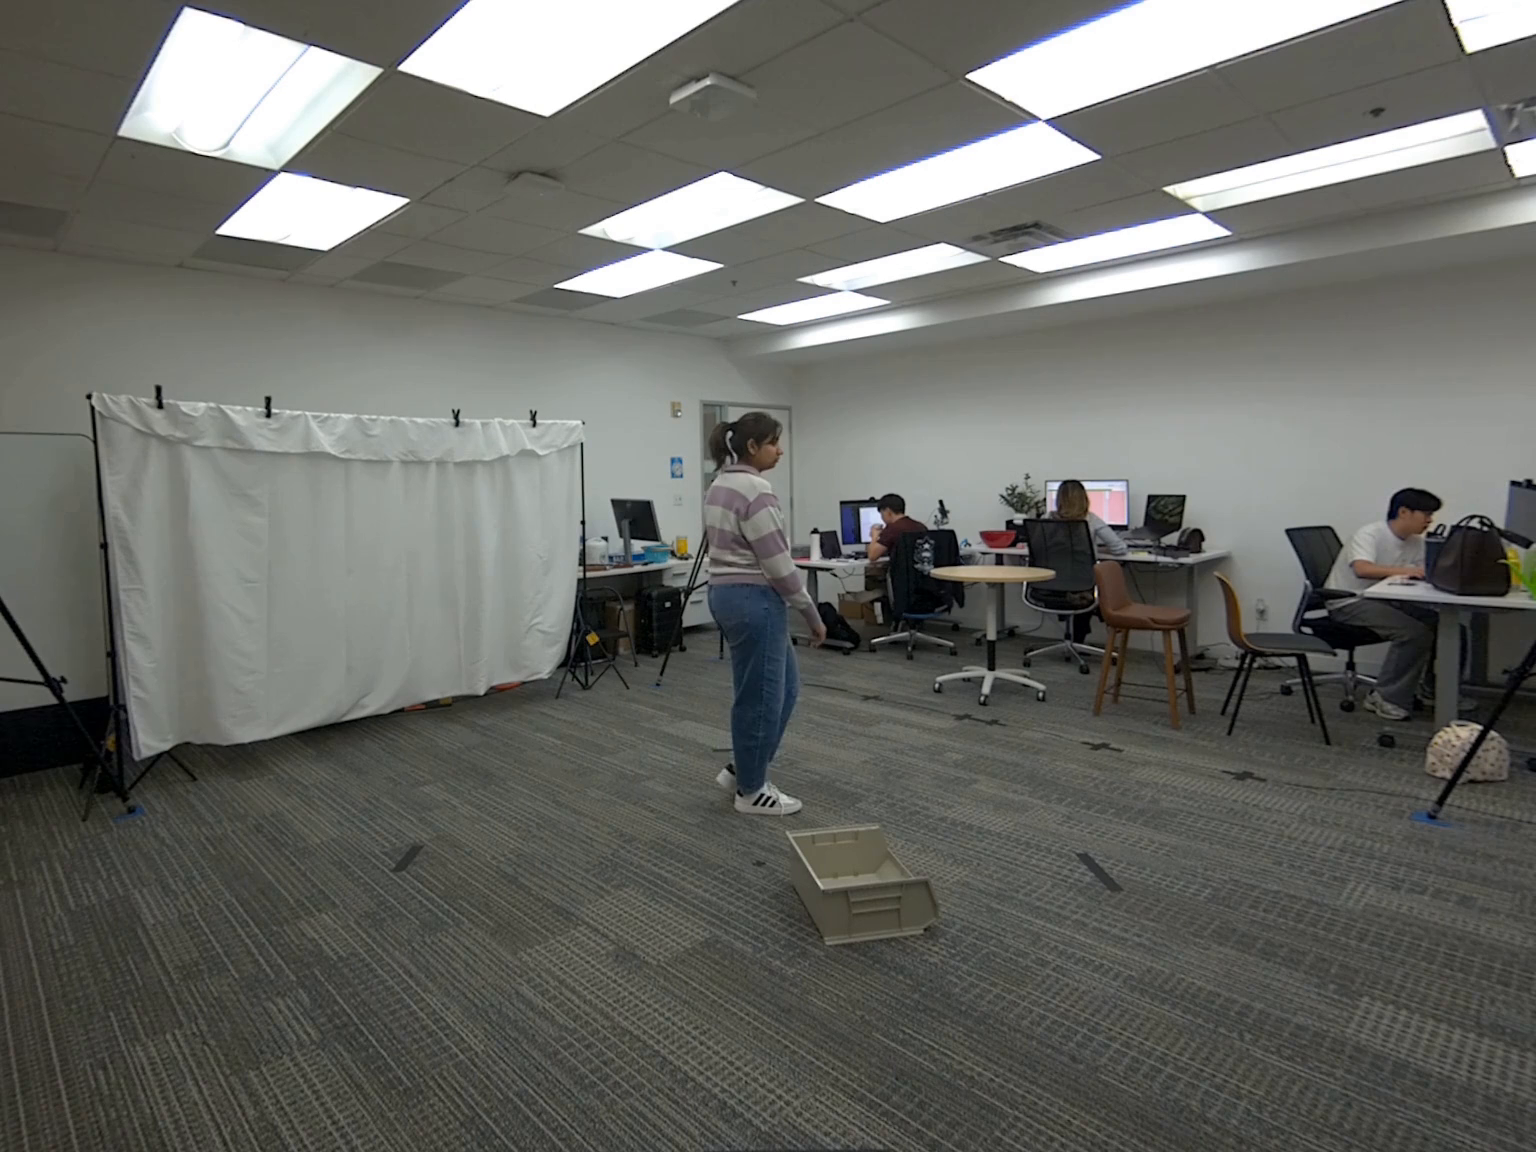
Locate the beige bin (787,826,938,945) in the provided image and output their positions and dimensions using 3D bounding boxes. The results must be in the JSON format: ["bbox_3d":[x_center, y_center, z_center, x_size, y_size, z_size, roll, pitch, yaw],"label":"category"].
[{"bbox_3d":[0.296,0.987,2.781,0.373,0.188,0.429,-3,7,-12],"label":"beige bin"}]
